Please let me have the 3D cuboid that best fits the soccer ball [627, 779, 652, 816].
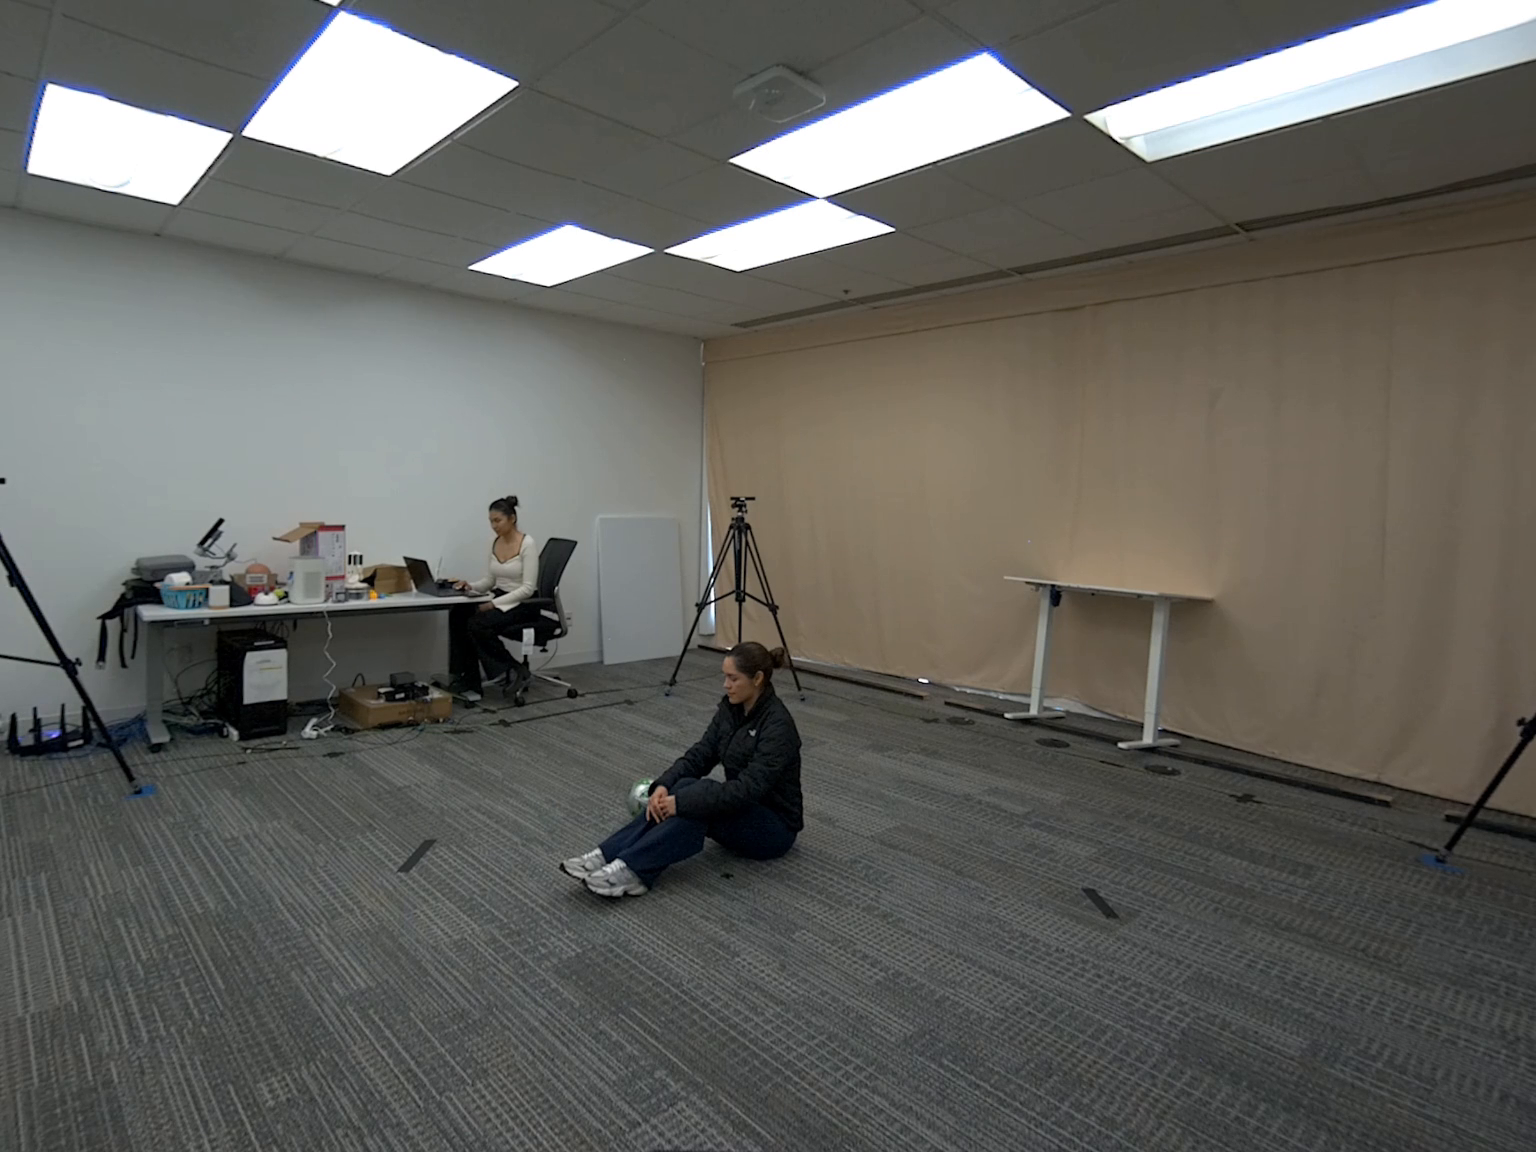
[{"bbox_3d":[-0.512,0.957,3.603,0.187,0.186,0.188,0,7,-1],"label":"soccer ball"}]
